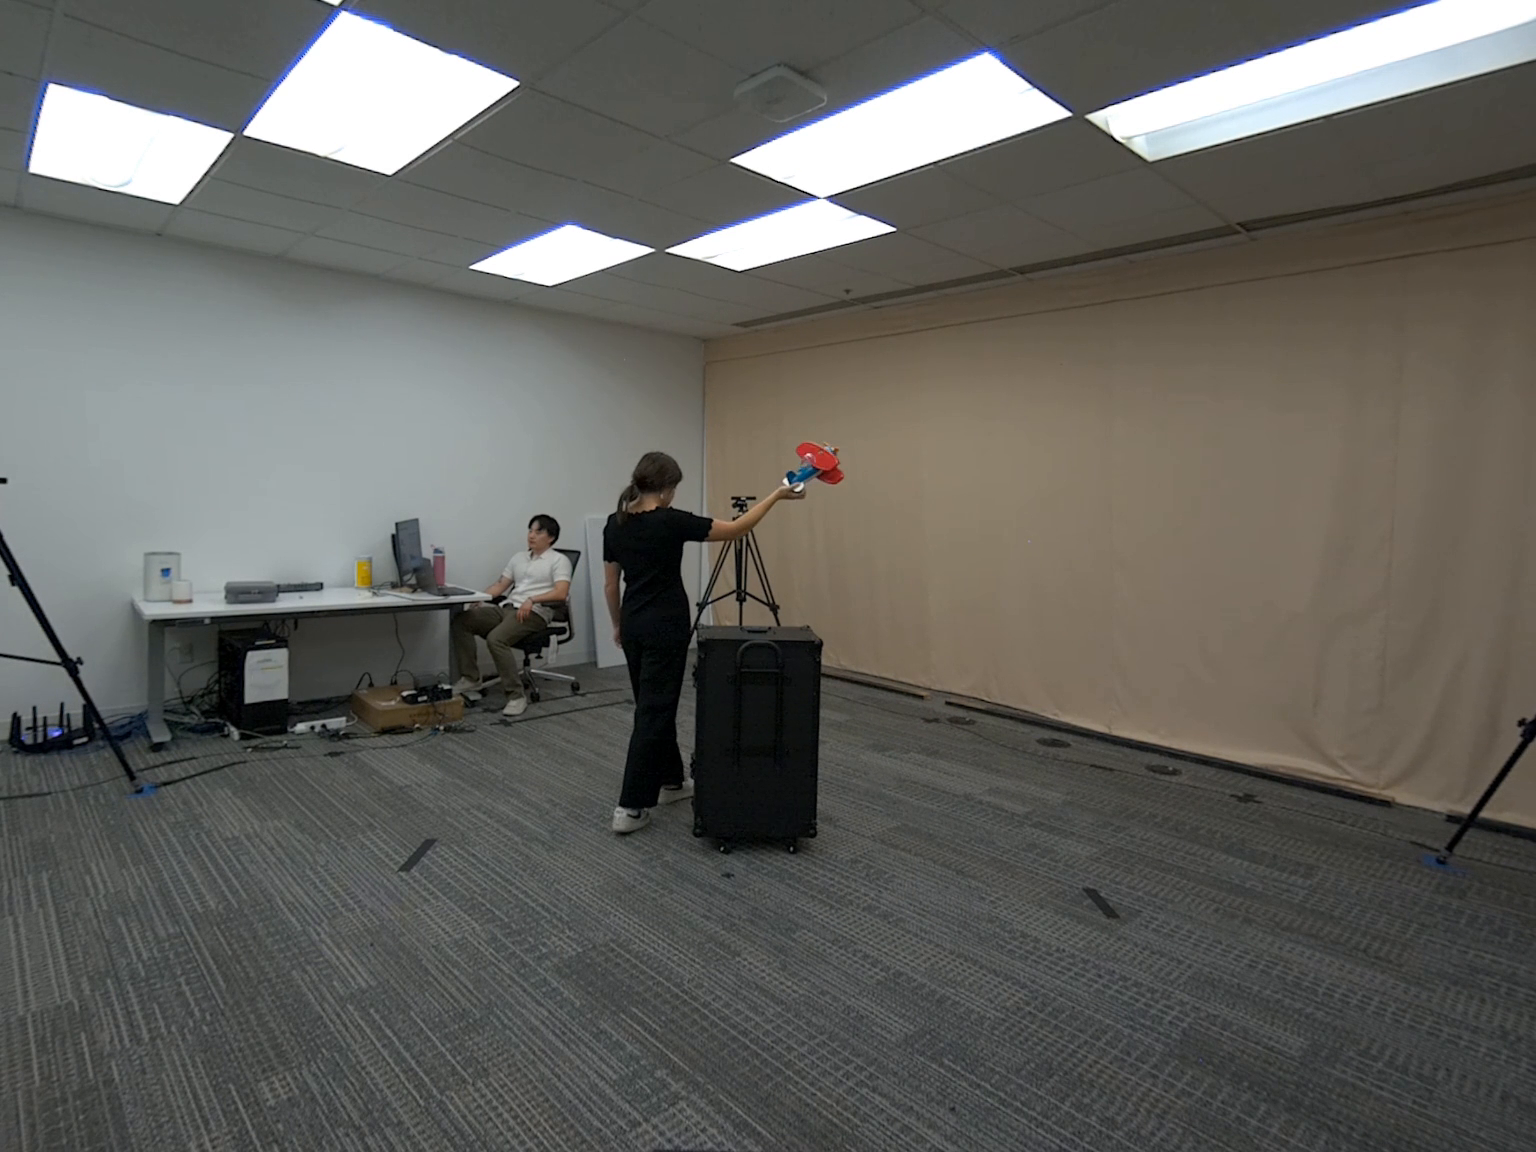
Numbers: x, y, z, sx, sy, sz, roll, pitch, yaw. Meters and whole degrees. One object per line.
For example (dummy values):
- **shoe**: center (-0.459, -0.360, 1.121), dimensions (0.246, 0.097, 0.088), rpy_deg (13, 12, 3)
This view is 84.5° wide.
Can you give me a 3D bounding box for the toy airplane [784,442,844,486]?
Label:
- **toy airplane**: center (0.195, -0.453, 3.605), dimensions (0.257, 0.152, 0.259), rpy_deg (12, 42, 30)
